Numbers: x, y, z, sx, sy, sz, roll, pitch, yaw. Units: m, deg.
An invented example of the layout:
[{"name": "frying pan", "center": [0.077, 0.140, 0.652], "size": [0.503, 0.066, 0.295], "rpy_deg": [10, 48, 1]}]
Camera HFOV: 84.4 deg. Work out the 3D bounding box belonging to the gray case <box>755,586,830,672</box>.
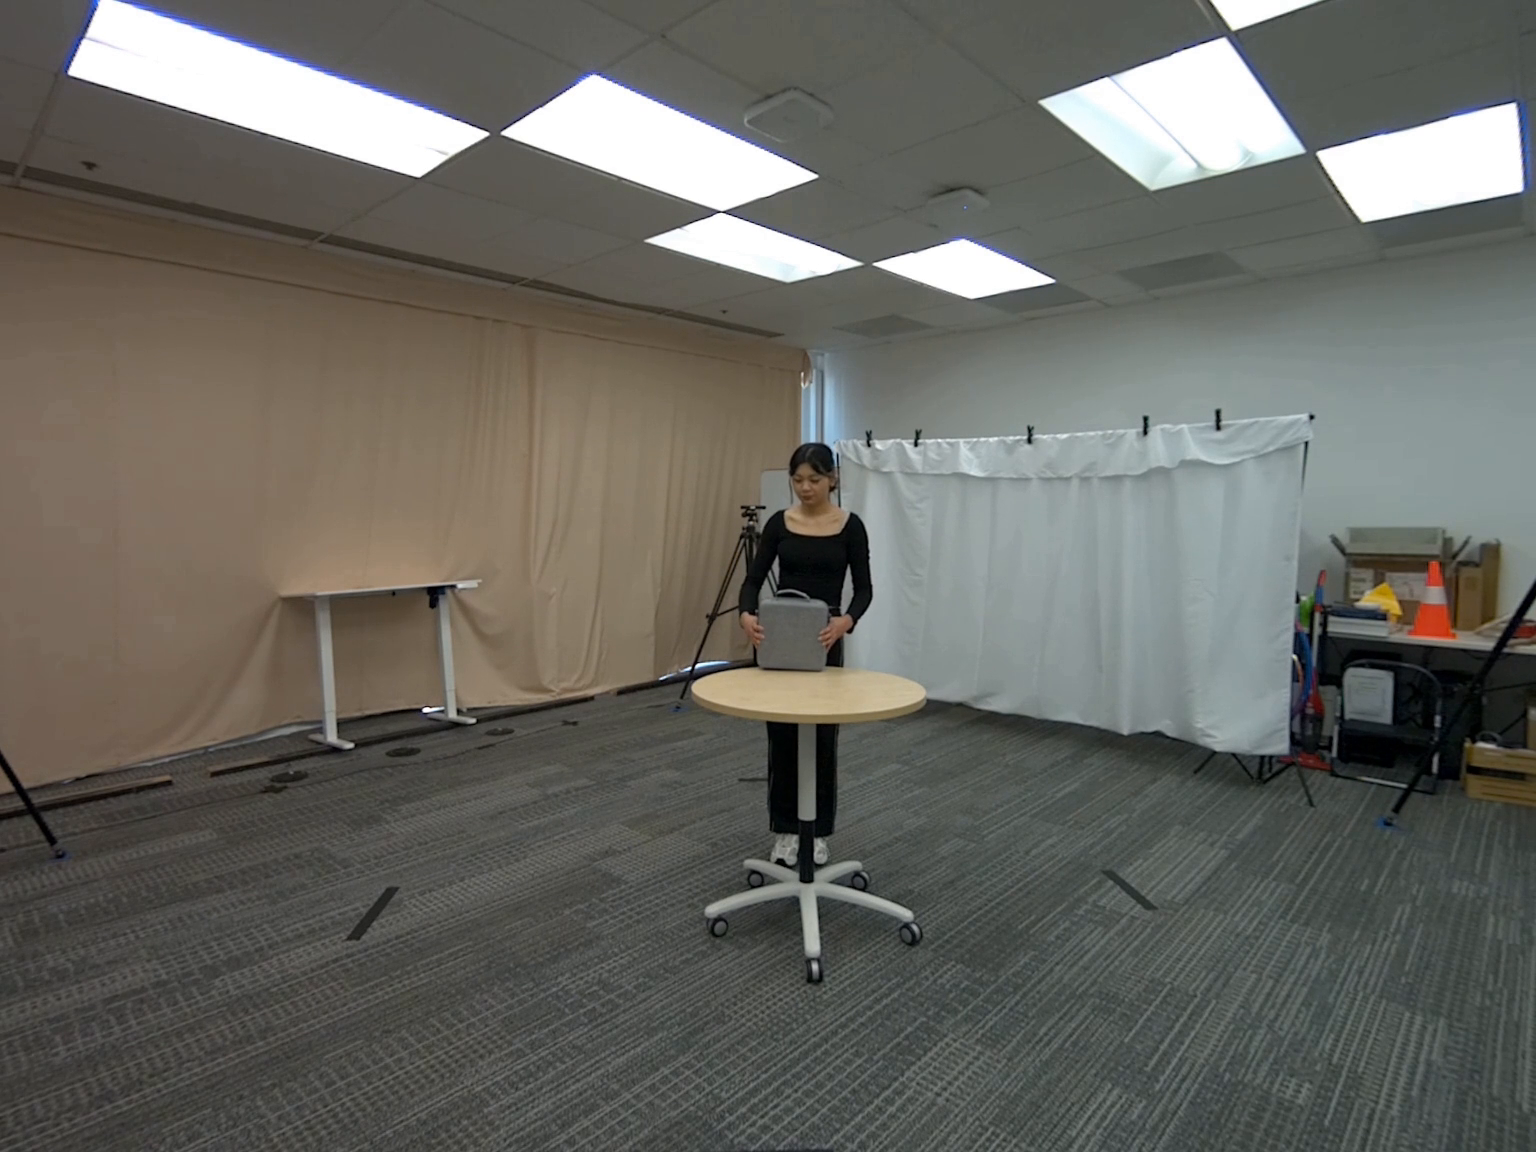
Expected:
[{"name": "gray case", "center": [0.095, 0.211, 3.080], "size": [0.259, 0.259, 0.104], "rpy_deg": [2, 7, 7]}]
